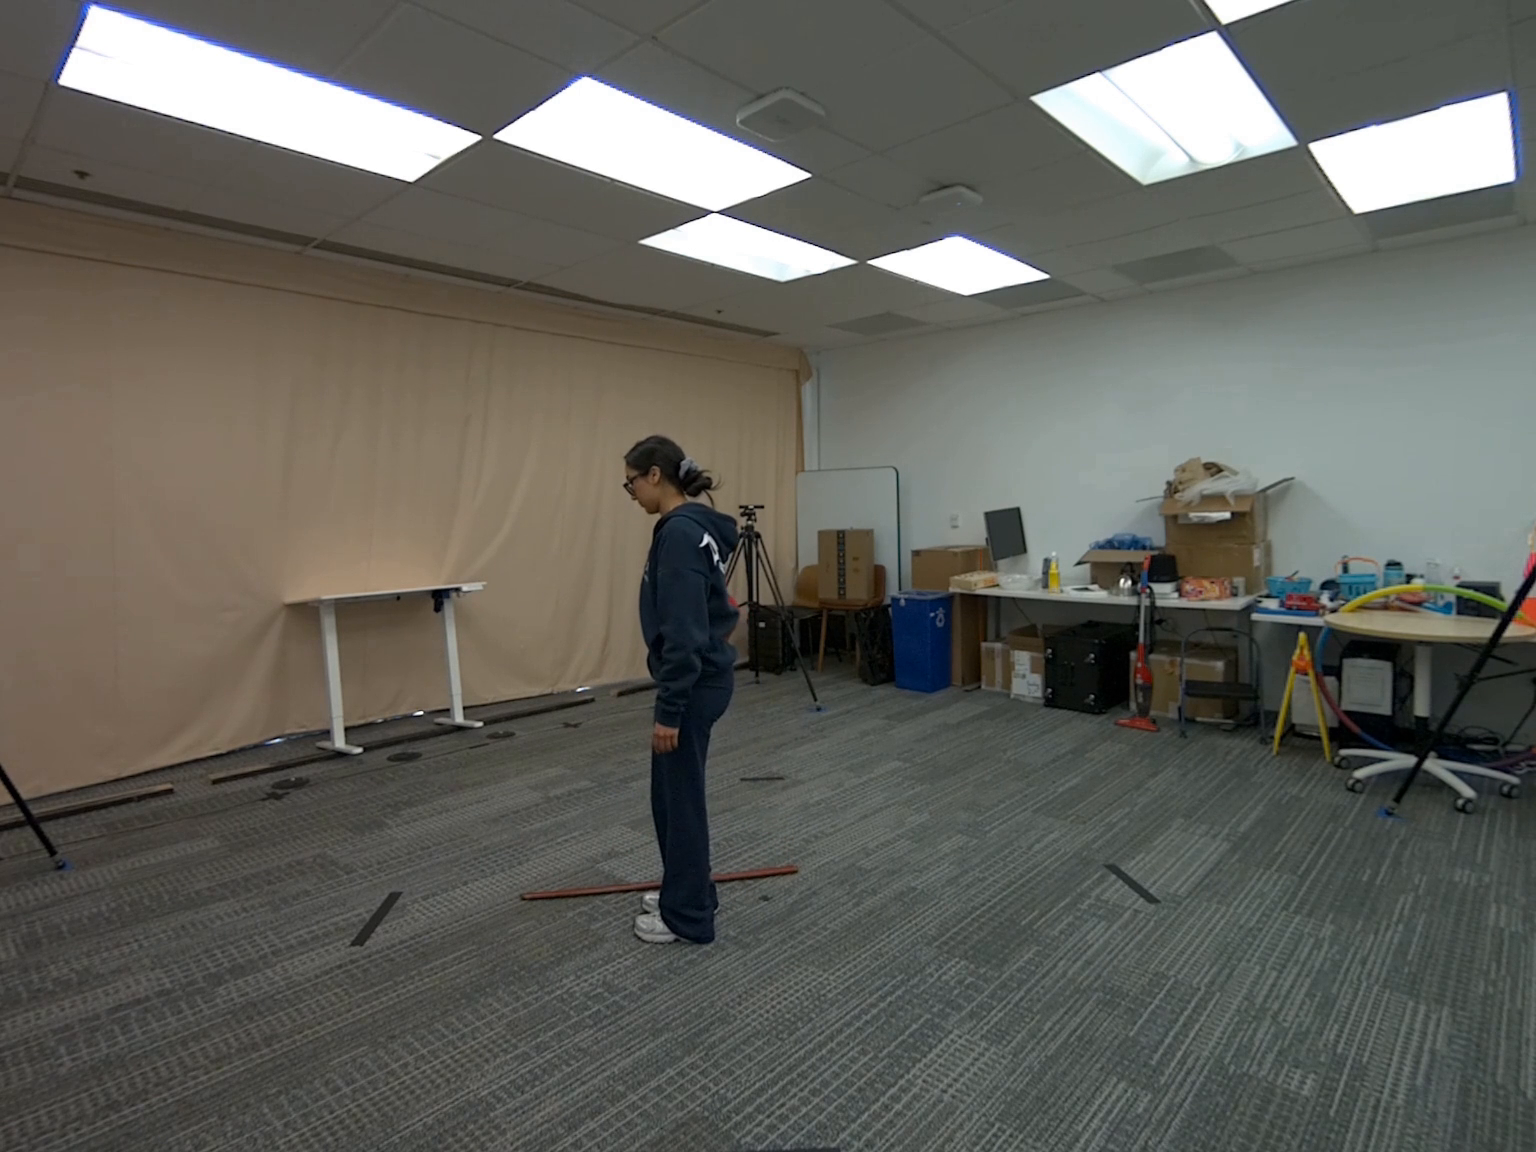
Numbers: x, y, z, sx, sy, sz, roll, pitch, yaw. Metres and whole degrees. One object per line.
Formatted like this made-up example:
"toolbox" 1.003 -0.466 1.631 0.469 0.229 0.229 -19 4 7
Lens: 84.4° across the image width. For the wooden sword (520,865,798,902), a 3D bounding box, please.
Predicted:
"wooden sword" -0.387 1.122 3.090 1.014 0.024 0.052 -2 19 -10
